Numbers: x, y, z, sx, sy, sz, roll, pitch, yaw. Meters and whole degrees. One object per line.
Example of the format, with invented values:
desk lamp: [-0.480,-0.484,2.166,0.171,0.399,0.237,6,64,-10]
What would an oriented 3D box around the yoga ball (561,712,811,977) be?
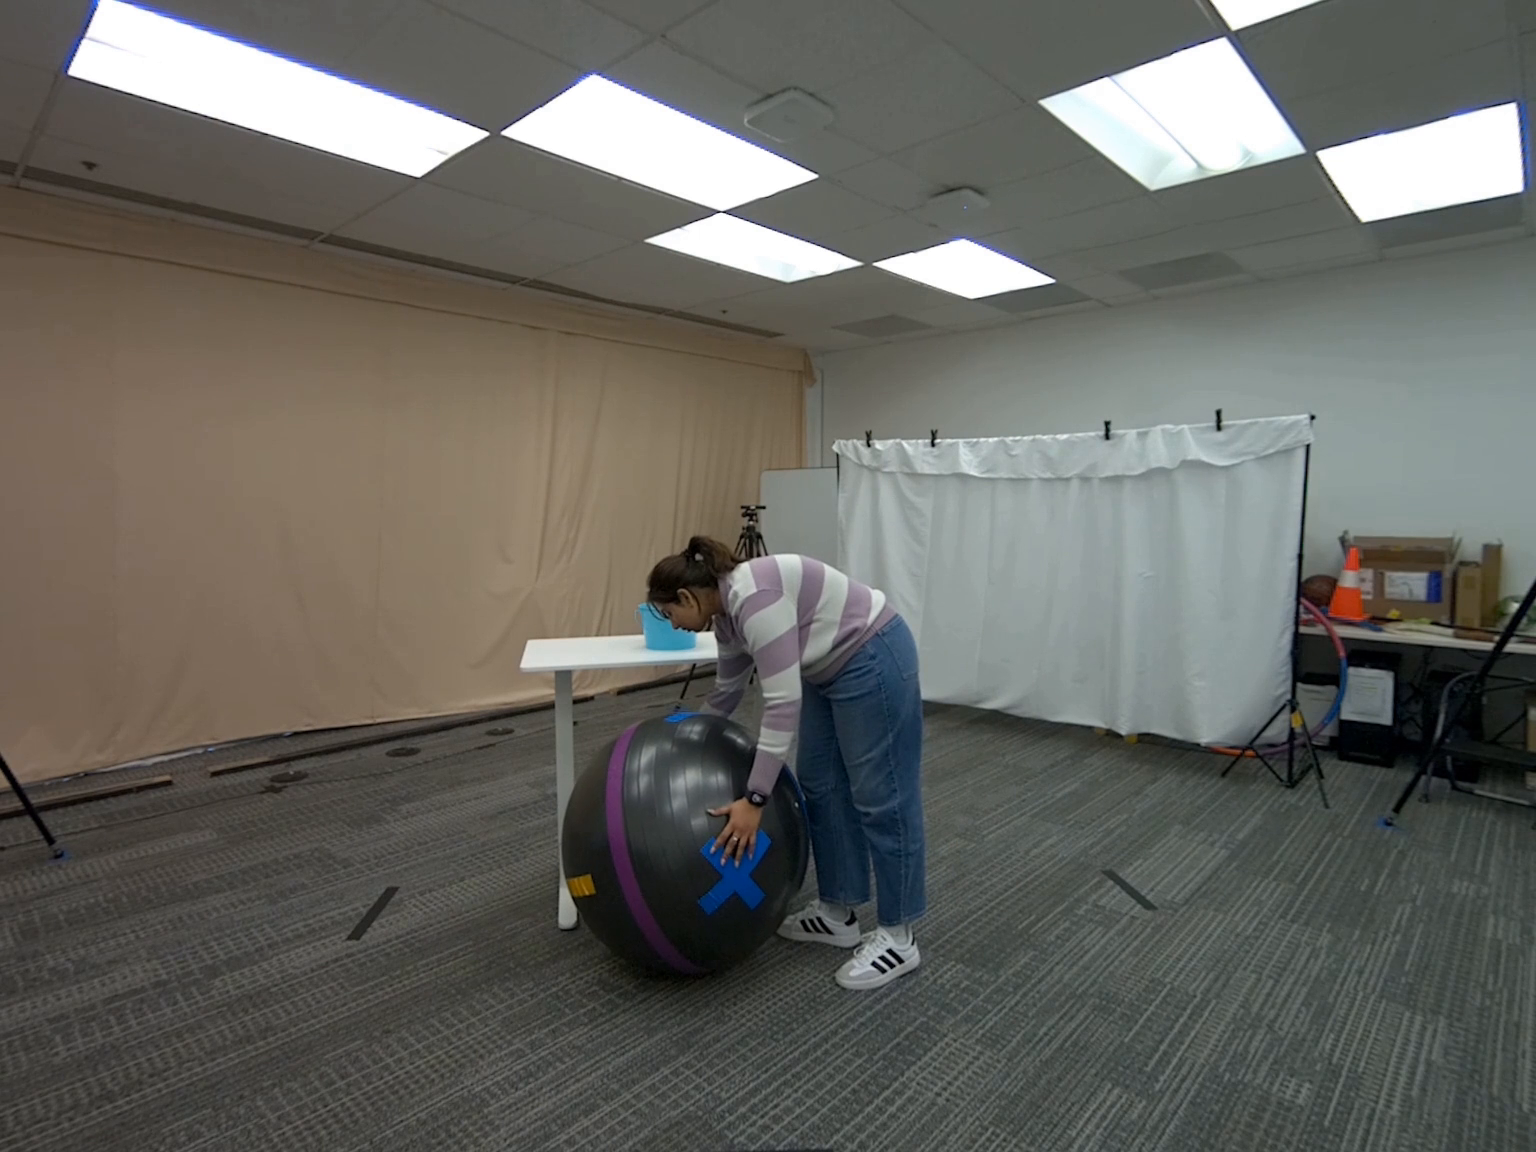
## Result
yoga ball: [-0.252,0.814,2.585,0.757,0.756,0.760,0,4,-2]
